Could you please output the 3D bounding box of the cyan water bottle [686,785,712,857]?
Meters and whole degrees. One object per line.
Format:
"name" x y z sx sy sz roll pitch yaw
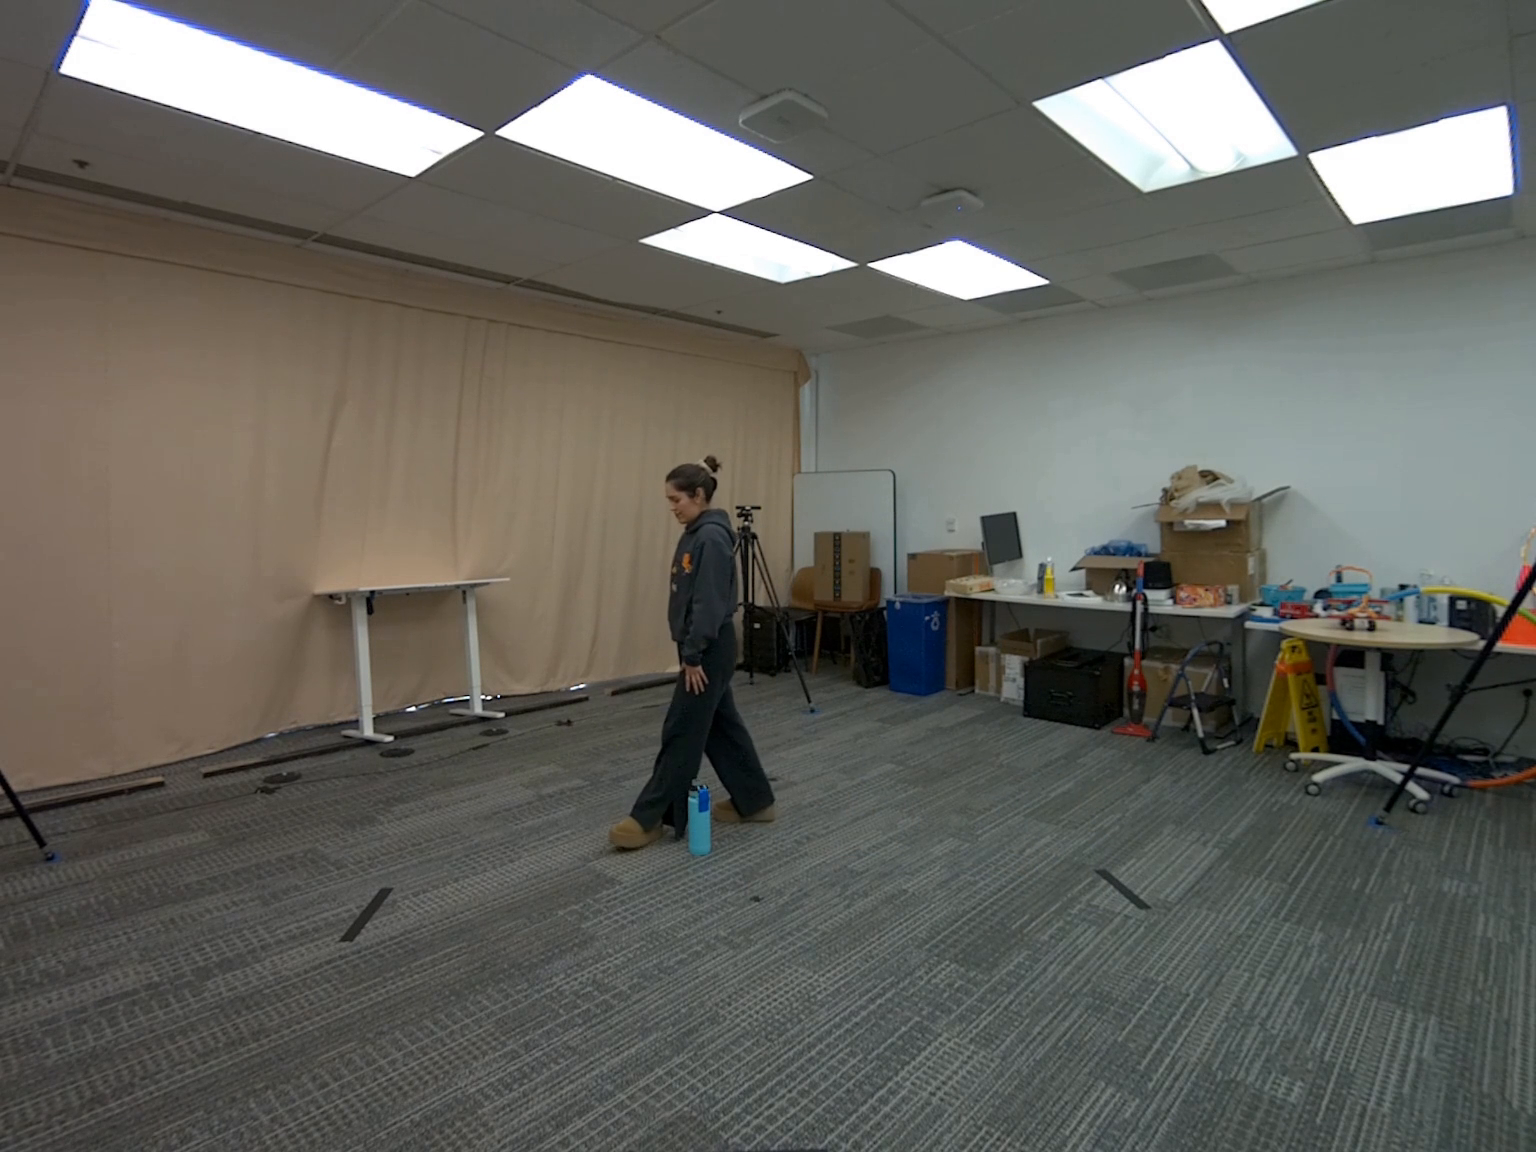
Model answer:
"cyan water bottle" -0.262 0.968 3.396 0.092 0.283 0.093 -1 4 -2
